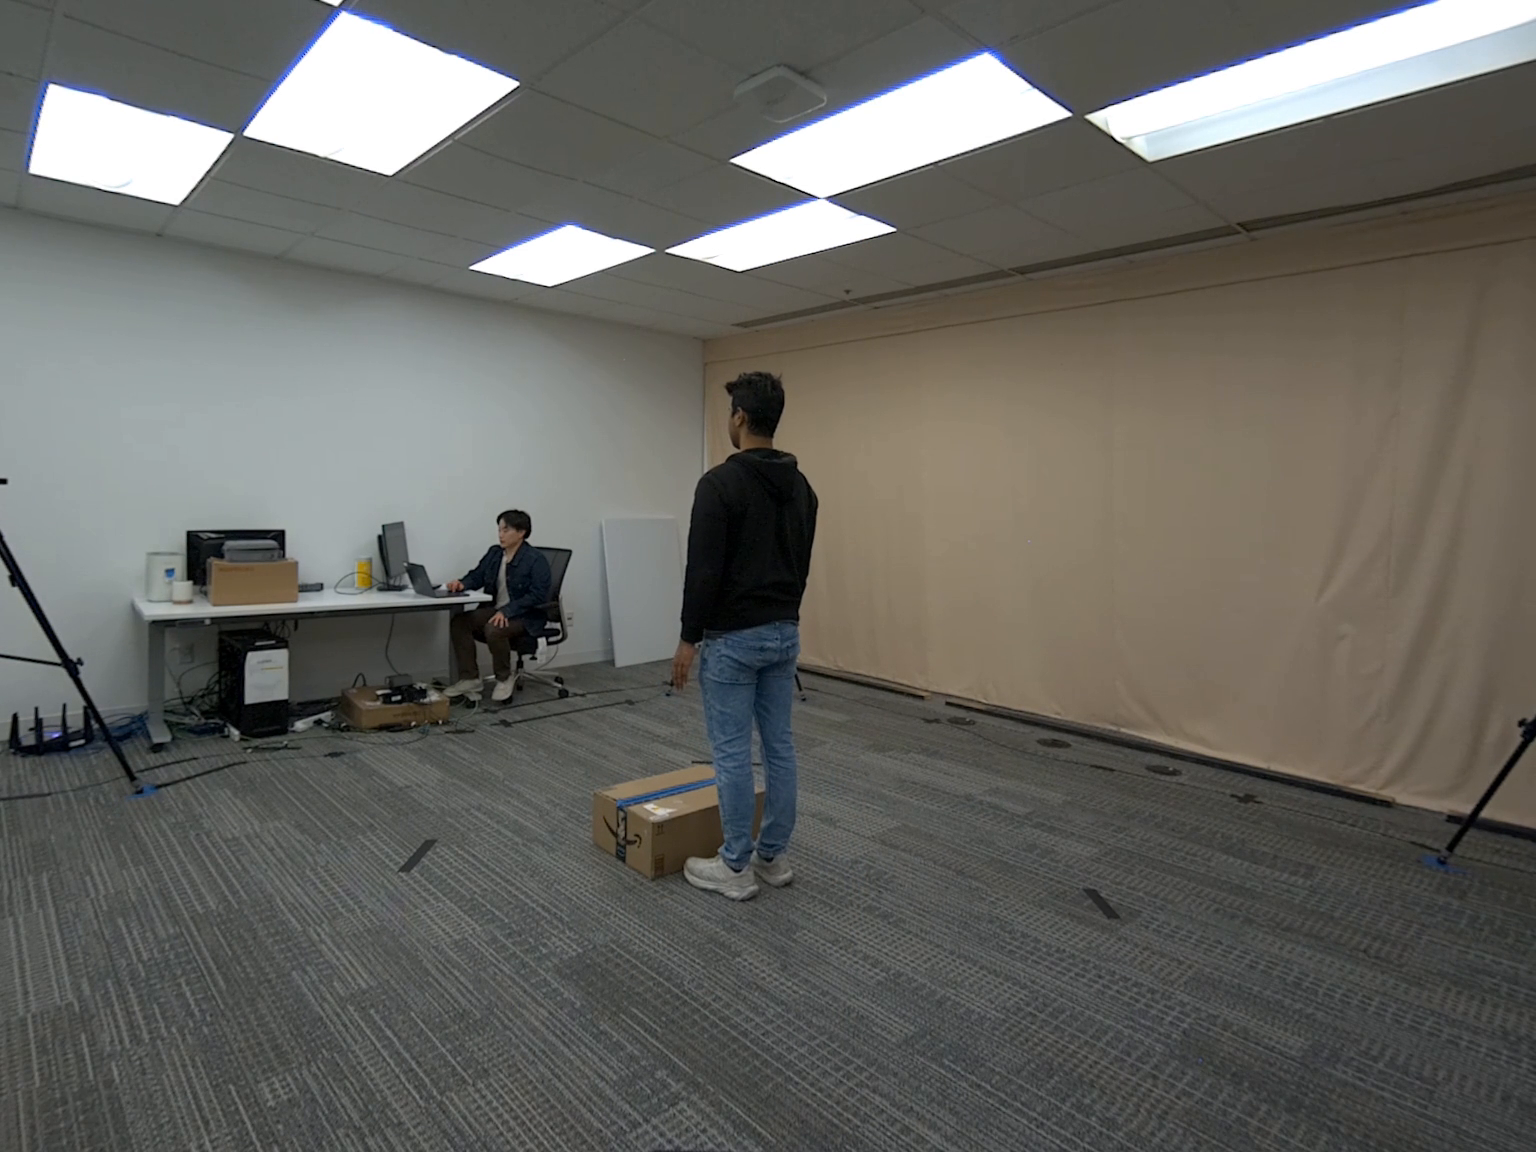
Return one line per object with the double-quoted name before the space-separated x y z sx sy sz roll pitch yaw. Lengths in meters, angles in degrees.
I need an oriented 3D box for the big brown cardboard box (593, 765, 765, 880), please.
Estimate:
"big brown cardboard box" -0.360 0.965 3.382 0.575 0.232 0.428 -2 6 -42
